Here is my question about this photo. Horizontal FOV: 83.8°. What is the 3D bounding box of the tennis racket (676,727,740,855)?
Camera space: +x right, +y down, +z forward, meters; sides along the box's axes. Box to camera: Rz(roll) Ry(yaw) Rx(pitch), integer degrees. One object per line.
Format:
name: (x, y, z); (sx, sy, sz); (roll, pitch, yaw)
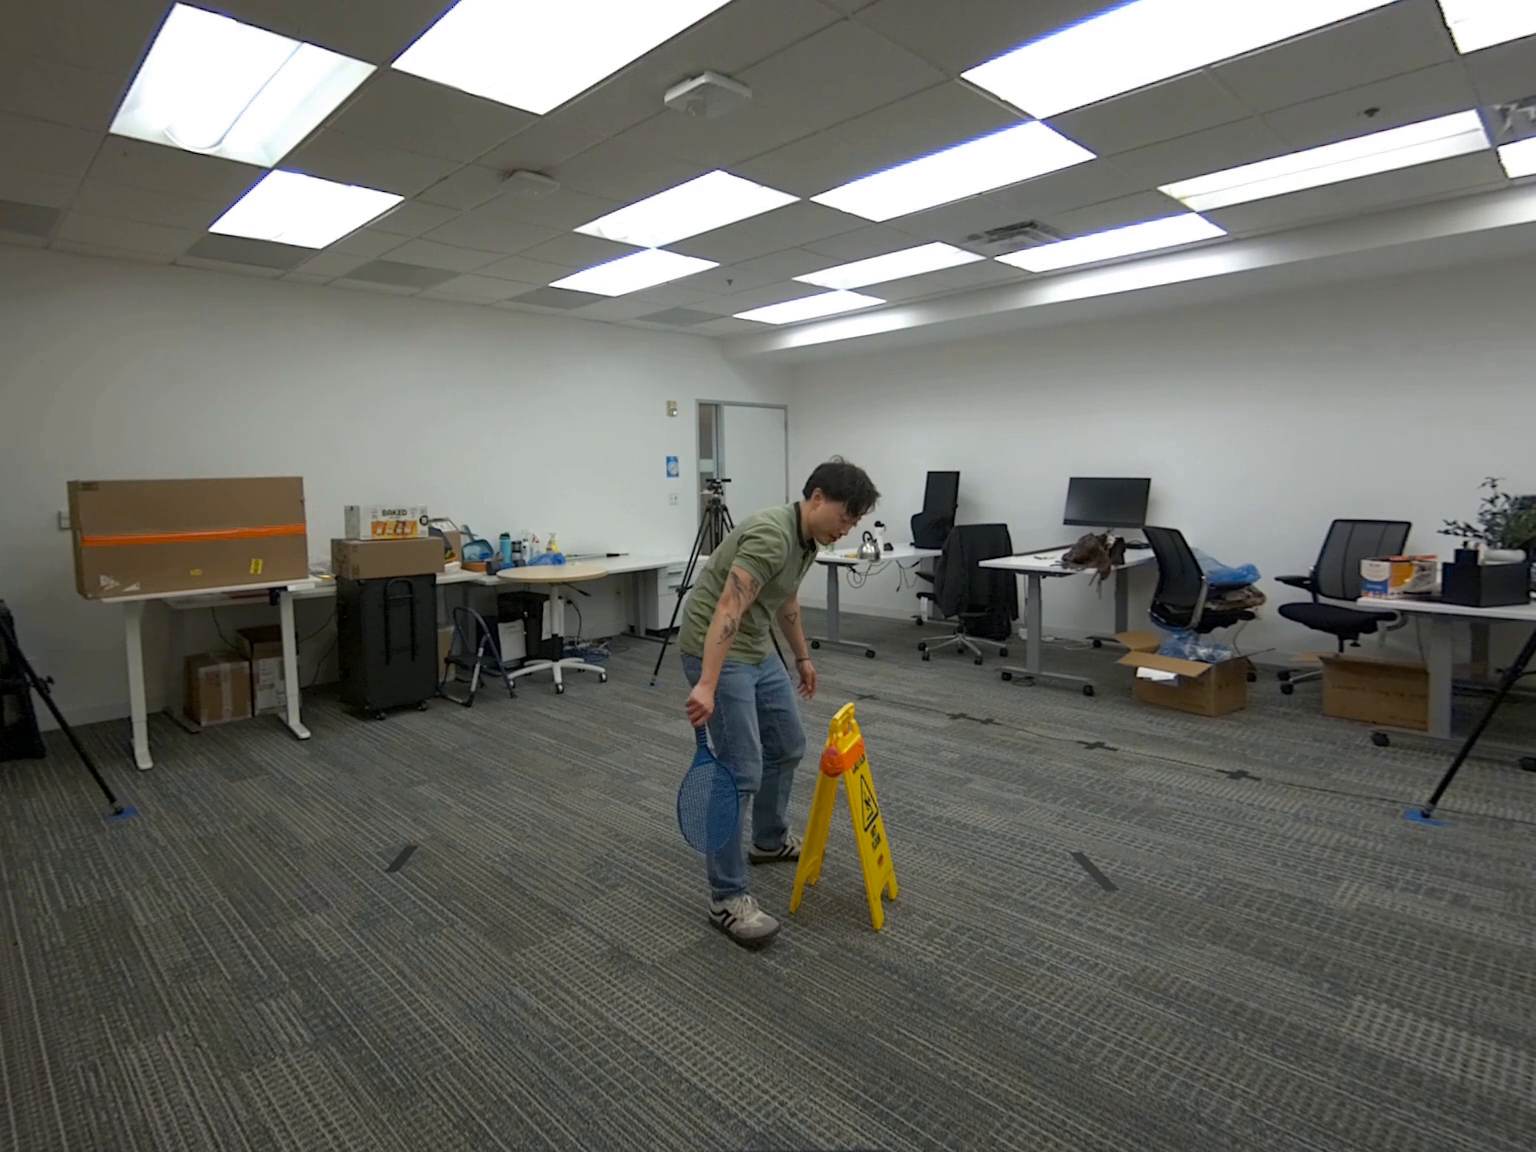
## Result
tennis racket: (-0.177, 0.593, 2.498); (0.208, 0.433, 0.032); (-7, 0, -43)
